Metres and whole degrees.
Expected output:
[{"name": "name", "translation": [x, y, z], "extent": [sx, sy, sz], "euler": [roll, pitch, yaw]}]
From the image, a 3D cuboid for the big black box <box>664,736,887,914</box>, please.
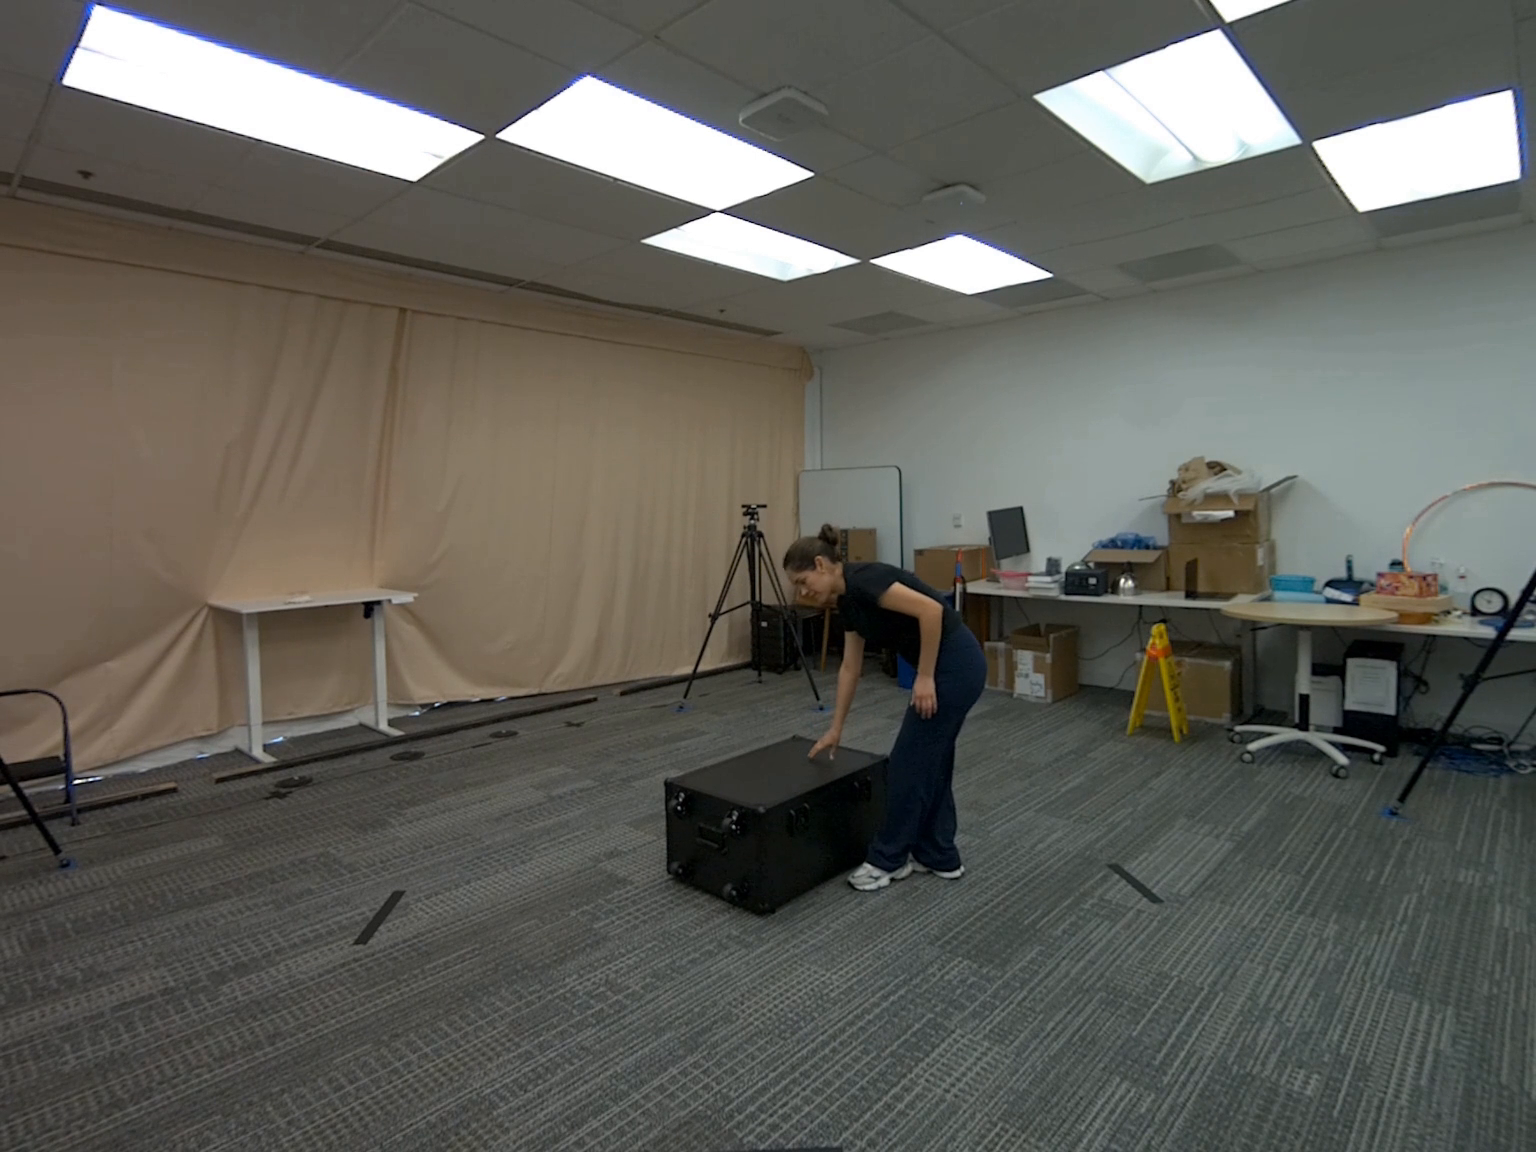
[{"name": "big black box", "translation": [0.049, 0.910, 3.221], "extent": [0.538, 0.395, 0.836], "euler": [3, 7, 41]}]
